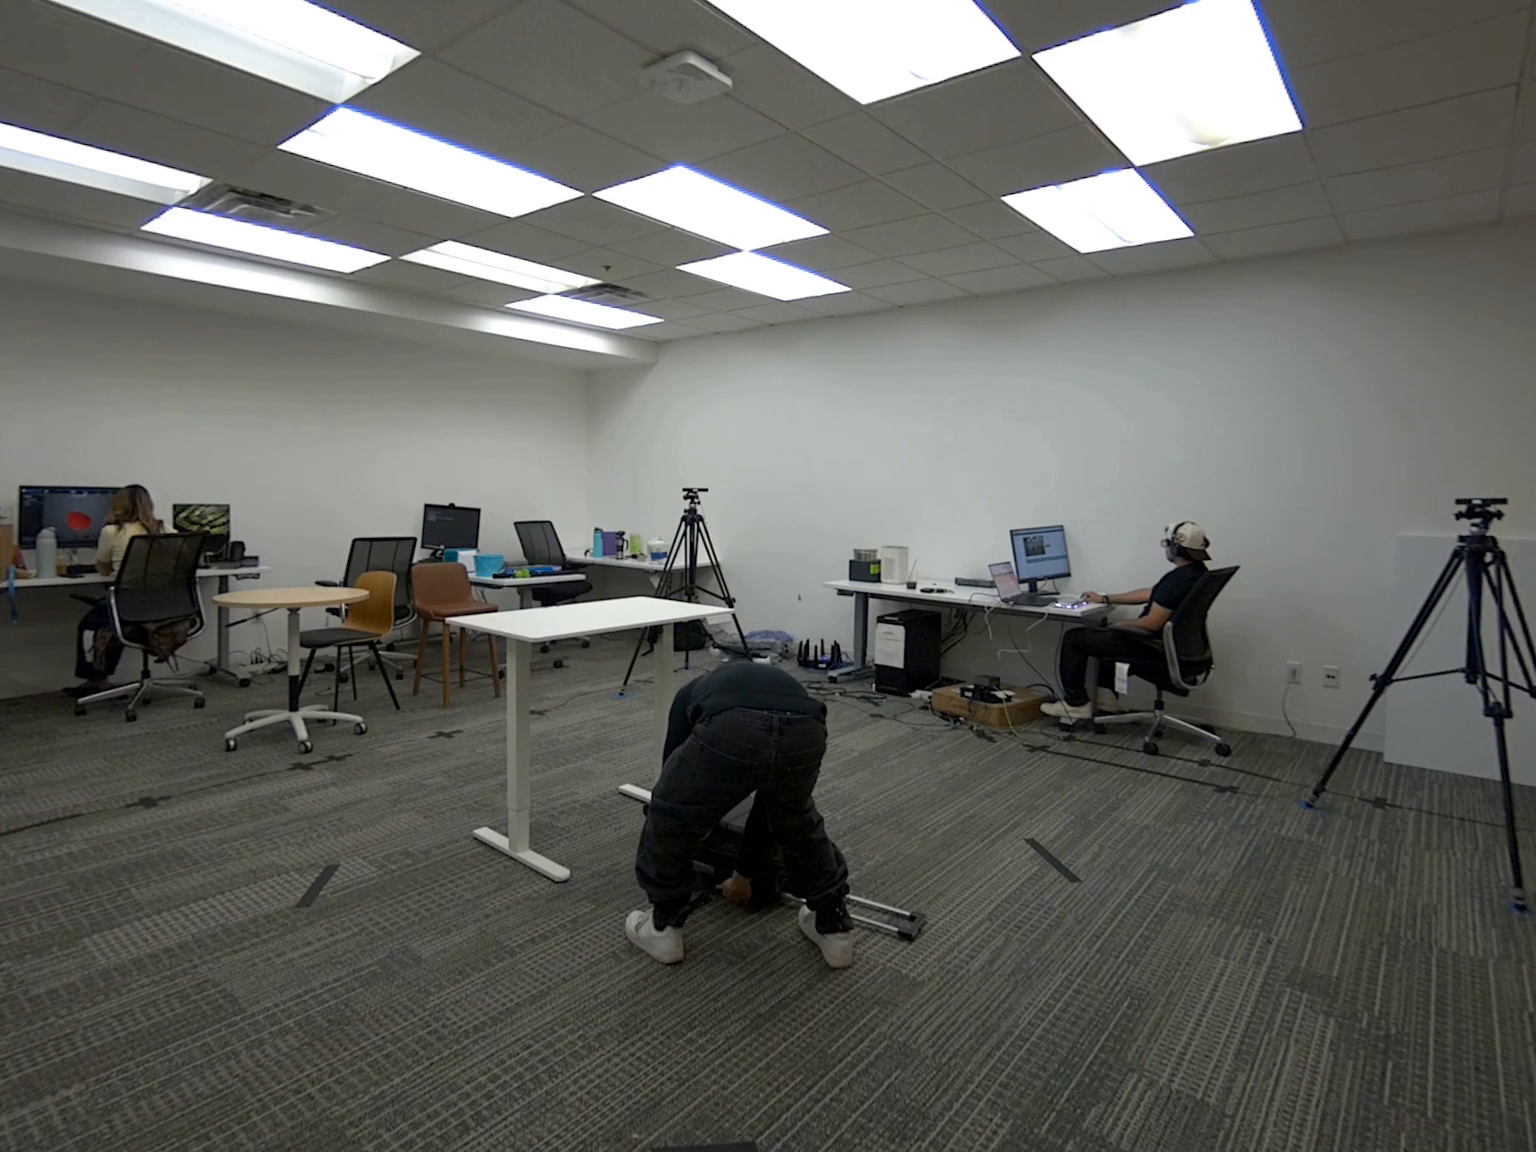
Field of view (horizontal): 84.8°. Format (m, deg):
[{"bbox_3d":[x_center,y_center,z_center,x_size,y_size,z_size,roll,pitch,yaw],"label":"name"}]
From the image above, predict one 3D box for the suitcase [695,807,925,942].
[{"bbox_3d":[0.034,0.951,2.933,1.008,0.257,0.373,4,2,30],"label":"suitcase"}]
